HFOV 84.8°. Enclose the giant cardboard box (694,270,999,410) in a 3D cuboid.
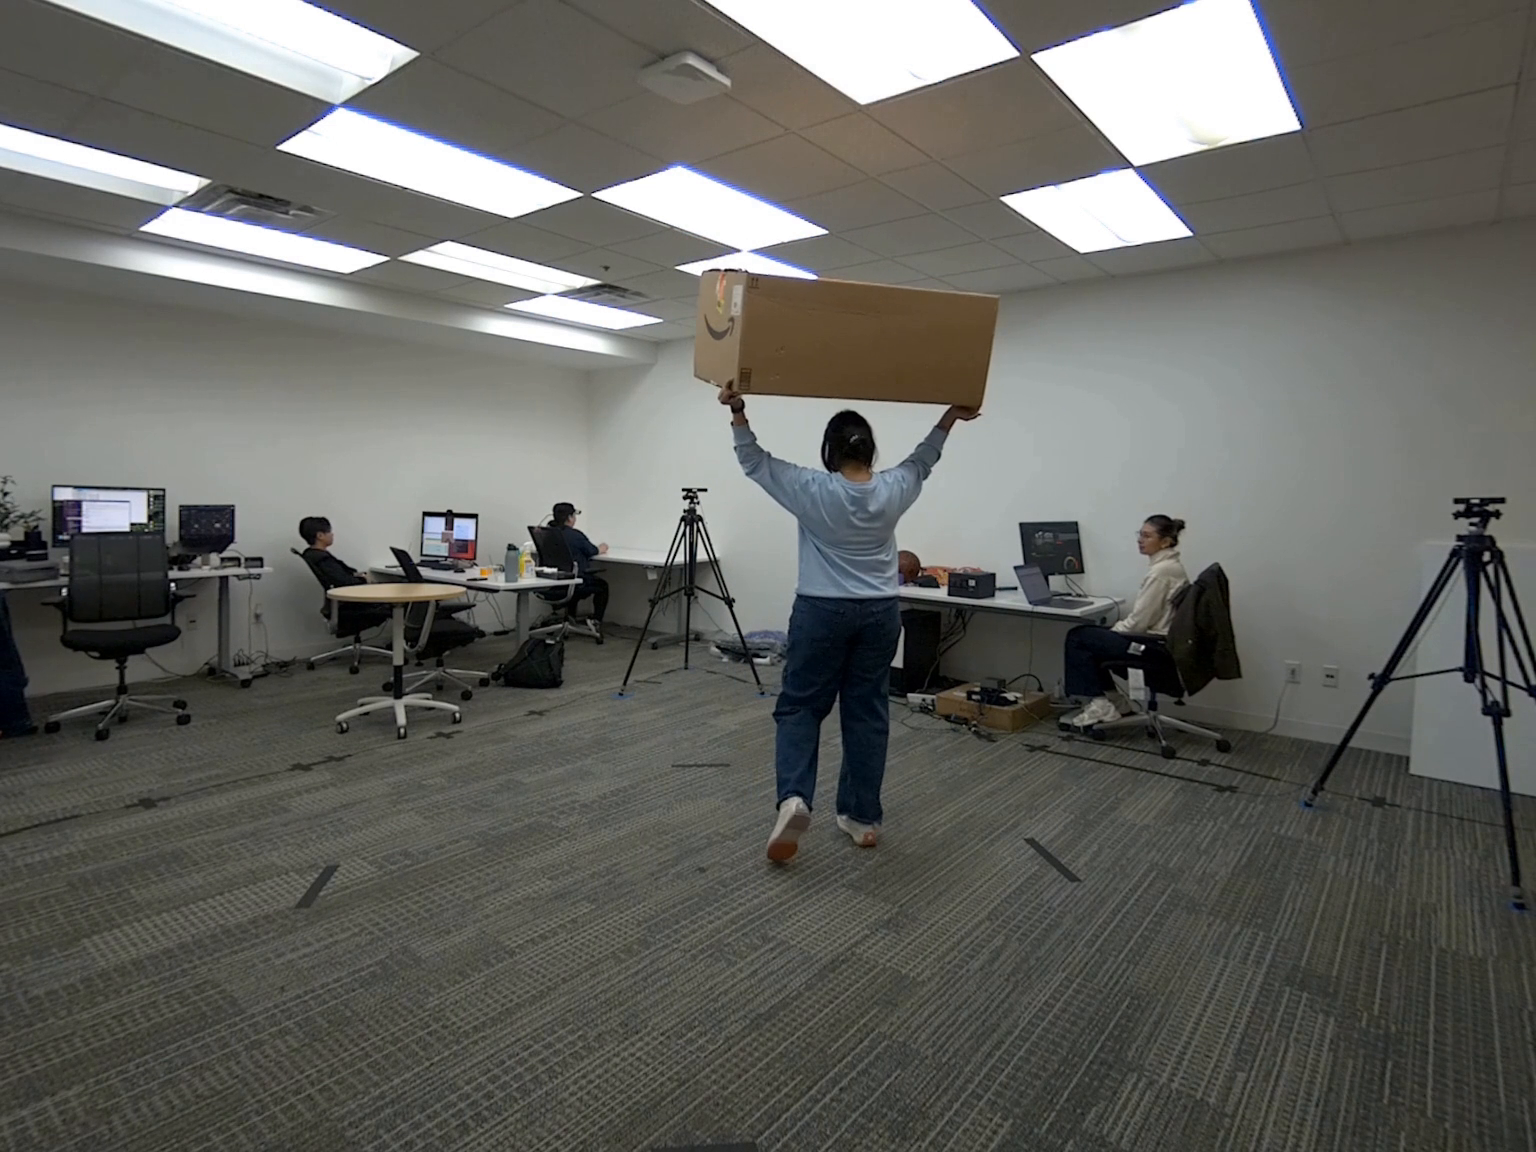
[{"bbox_3d":[0.271,-0.952,3.372,1.007,0.420,0.597,-2,18,-19],"label":"giant cardboard box"}]
